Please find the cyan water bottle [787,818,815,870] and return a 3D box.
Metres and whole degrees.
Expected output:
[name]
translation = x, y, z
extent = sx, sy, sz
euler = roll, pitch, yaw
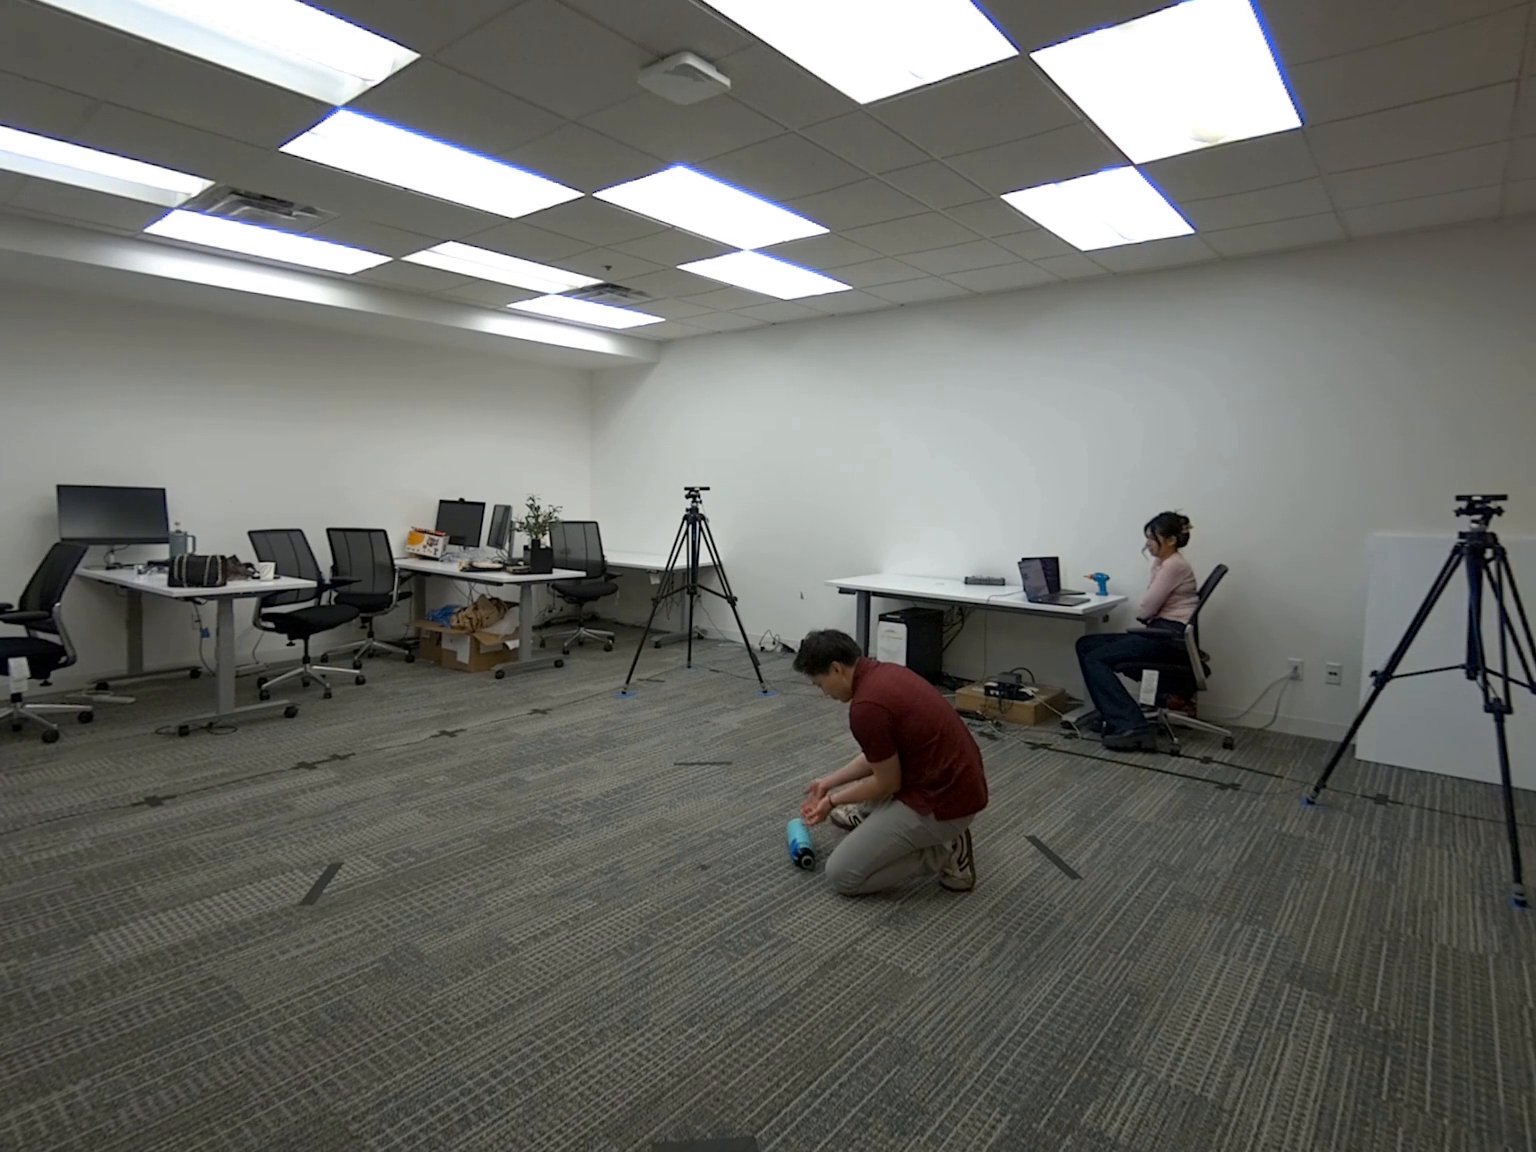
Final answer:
[cyan water bottle]
translation = 0.117, 1.014, 3.233
extent = 0.092, 0.092, 0.285
euler = 0, 7, -3
